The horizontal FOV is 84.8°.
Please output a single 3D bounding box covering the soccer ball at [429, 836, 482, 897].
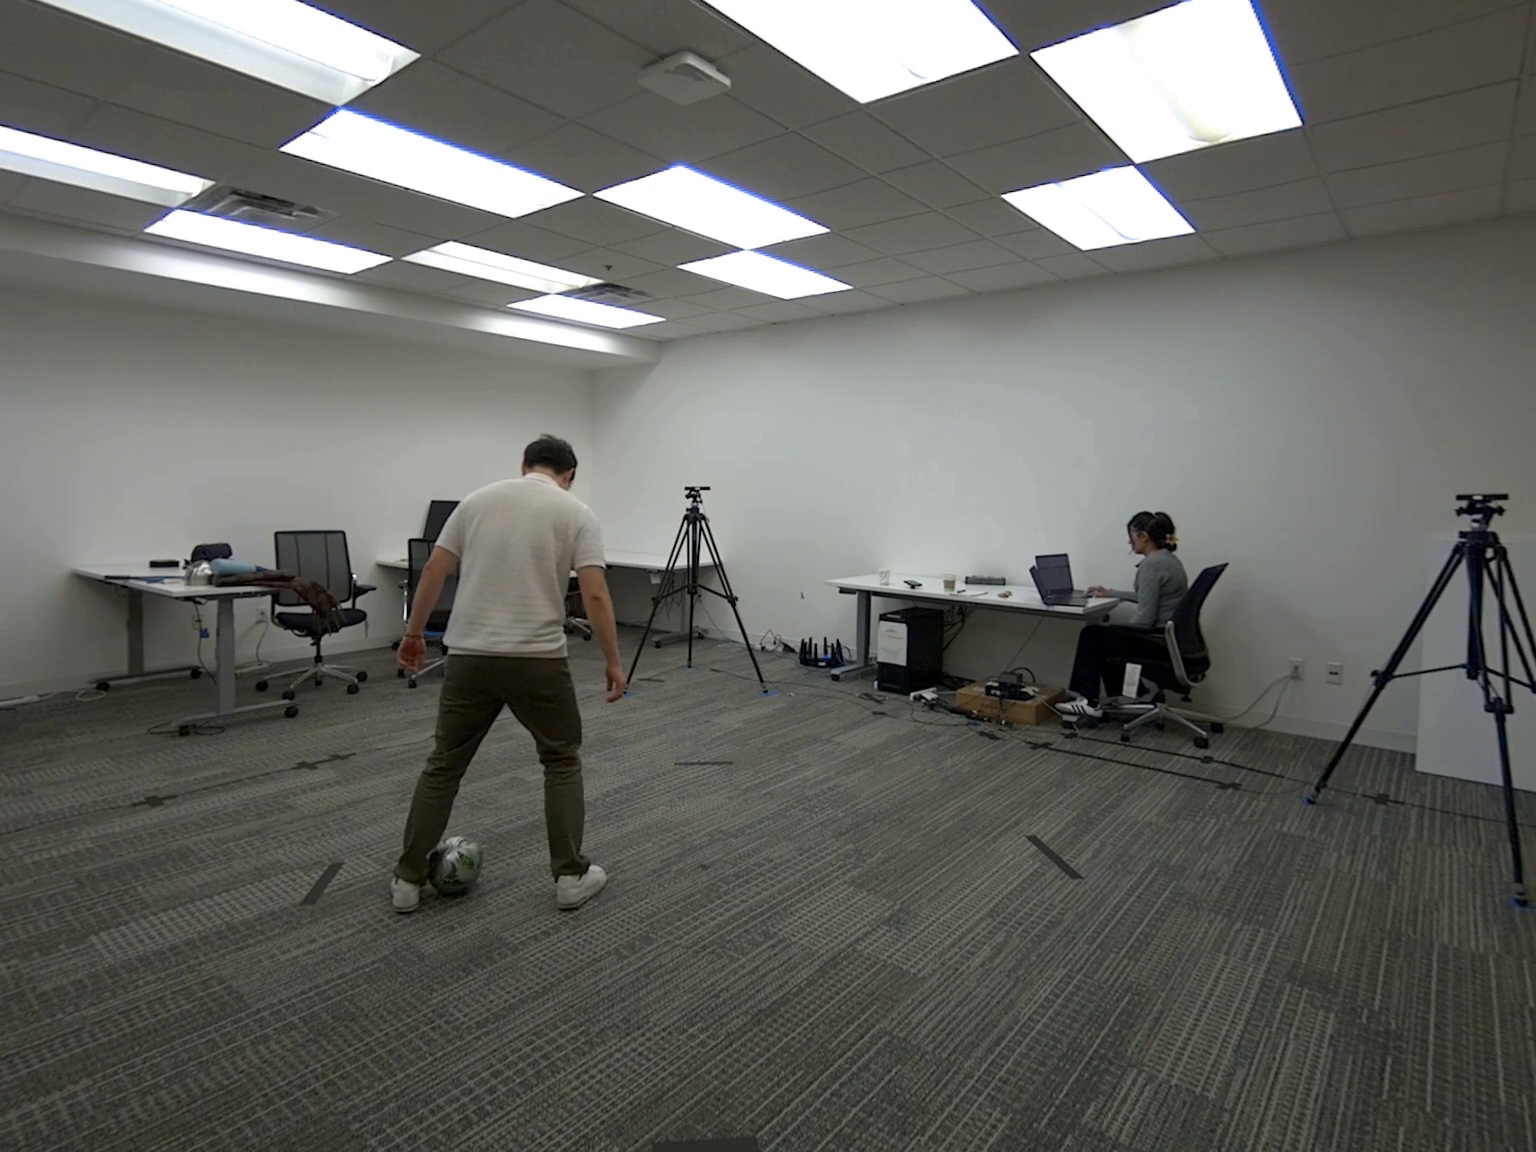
[{"bbox_3d":[-1.082,0.986,2.907,0.187,0.187,0.188,0,4,-2],"label":"soccer ball"}]
